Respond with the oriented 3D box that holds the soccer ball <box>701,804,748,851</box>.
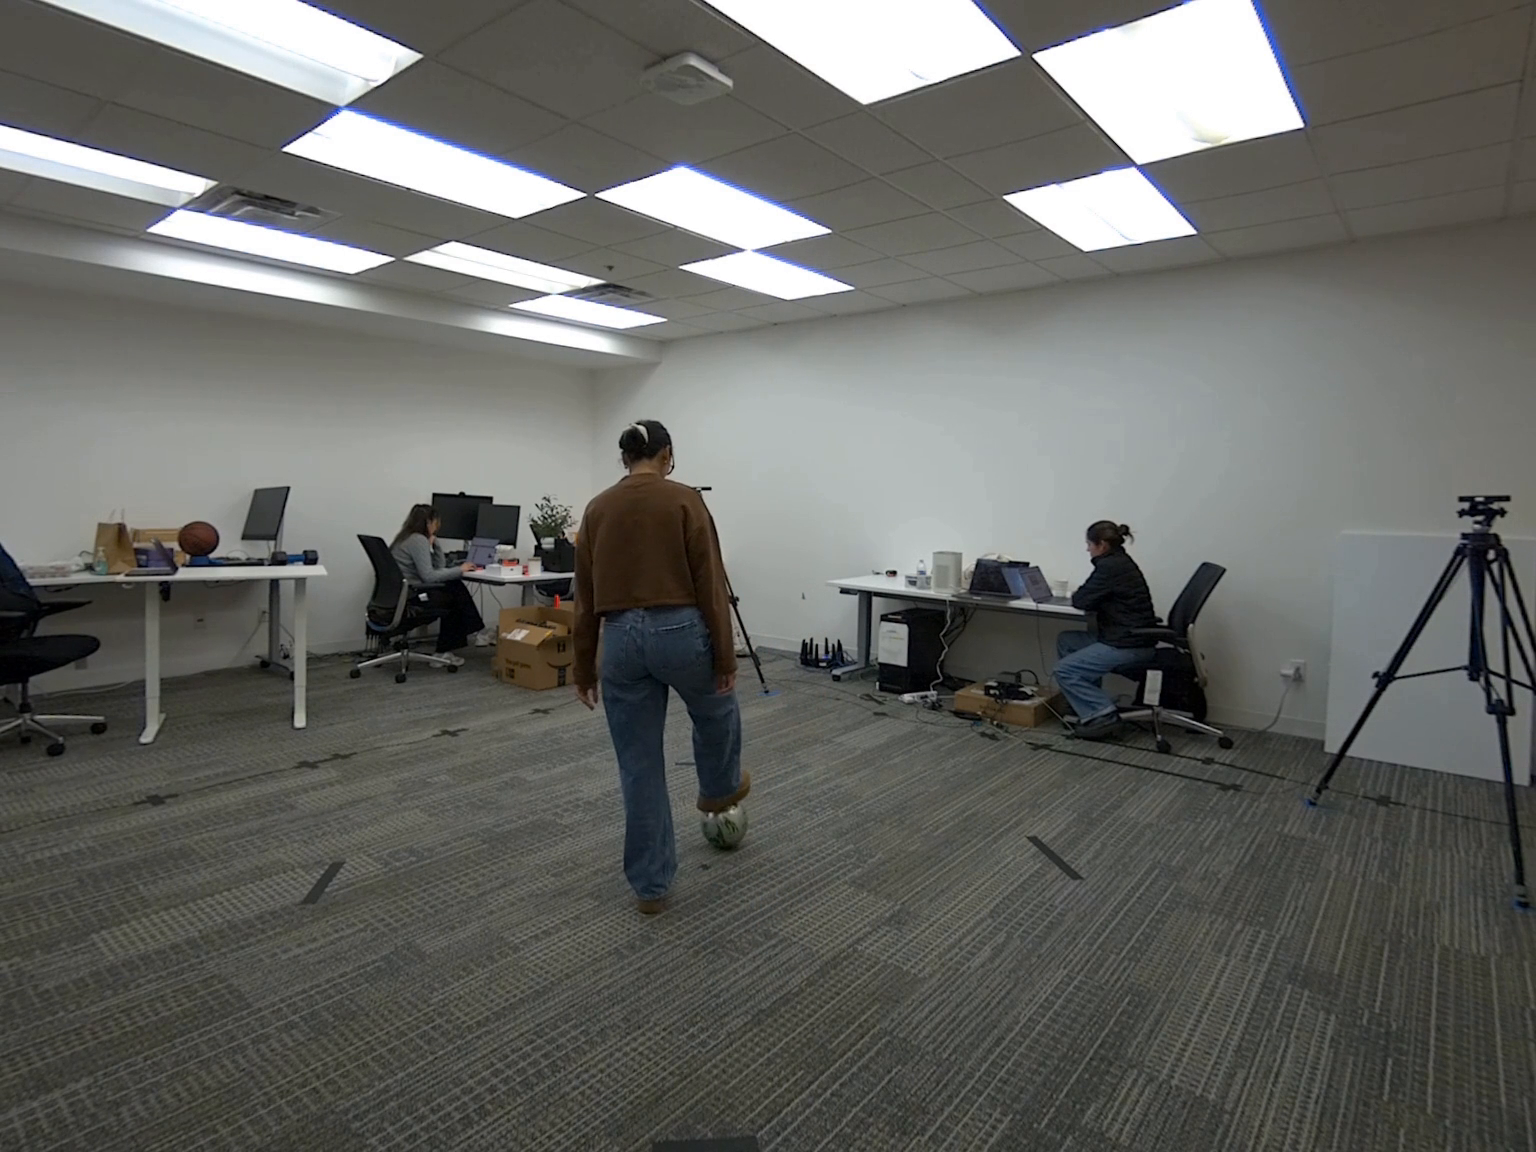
[{"bbox_3d":[-0.187,0.953,3.302,0.187,0.187,0.188,1,4,-2],"label":"soccer ball"}]
